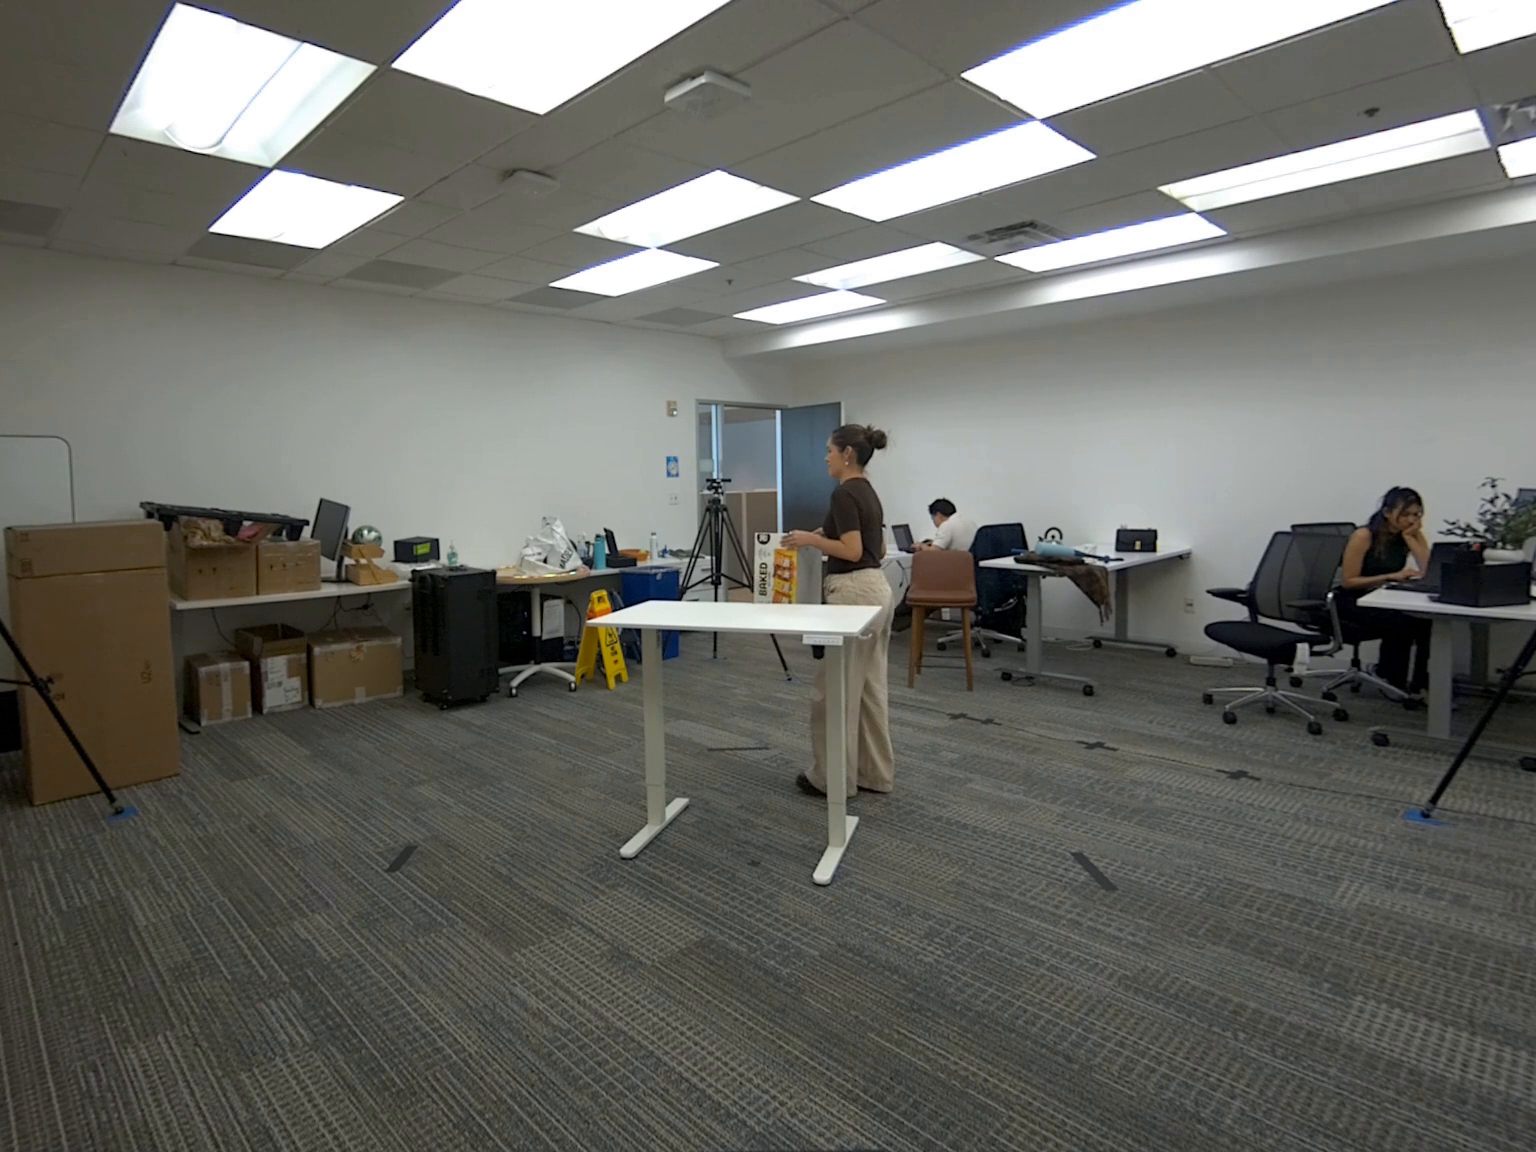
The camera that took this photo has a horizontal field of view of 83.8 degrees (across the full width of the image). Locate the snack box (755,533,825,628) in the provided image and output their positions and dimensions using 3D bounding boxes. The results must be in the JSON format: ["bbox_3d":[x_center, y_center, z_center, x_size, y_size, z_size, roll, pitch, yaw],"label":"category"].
[{"bbox_3d":[0.106,0.009,3.932,0.210,0.405,0.333,1,1,24],"label":"snack box"}]
